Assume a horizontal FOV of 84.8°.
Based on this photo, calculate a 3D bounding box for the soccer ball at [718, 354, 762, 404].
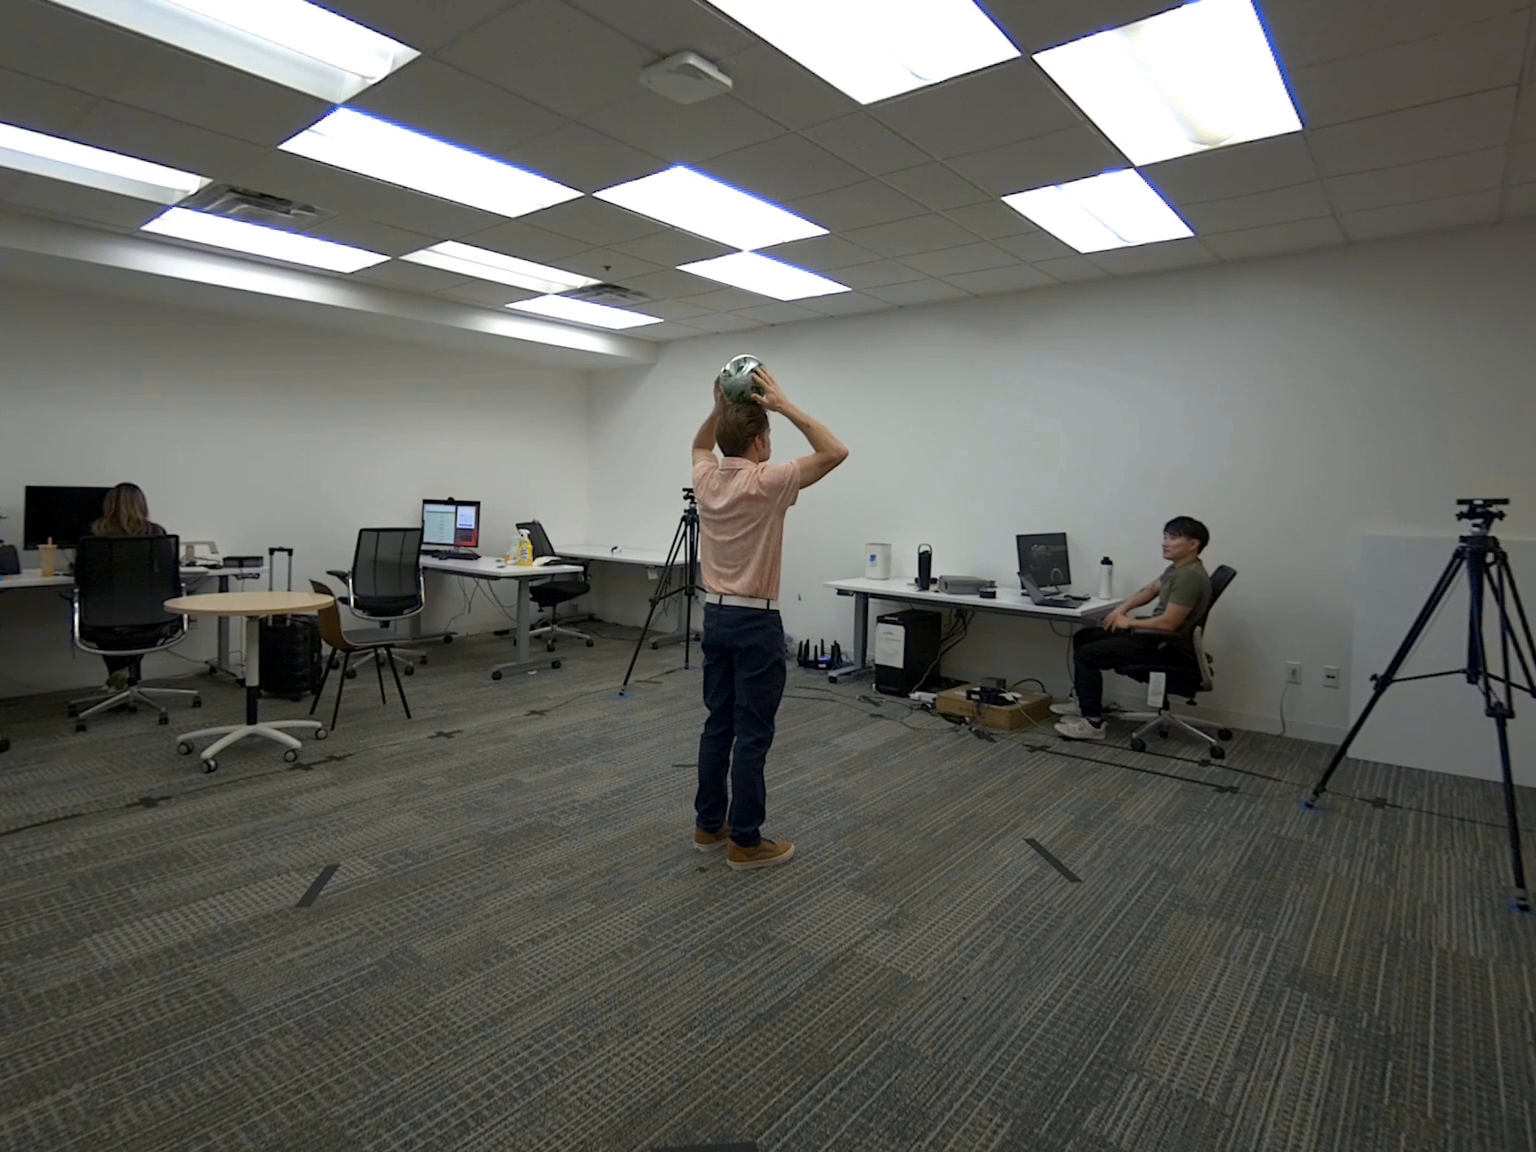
[{"bbox_3d":[-0.103,-0.731,3.172,0.187,0.187,0.188,1,4,-2],"label":"soccer ball"}]
